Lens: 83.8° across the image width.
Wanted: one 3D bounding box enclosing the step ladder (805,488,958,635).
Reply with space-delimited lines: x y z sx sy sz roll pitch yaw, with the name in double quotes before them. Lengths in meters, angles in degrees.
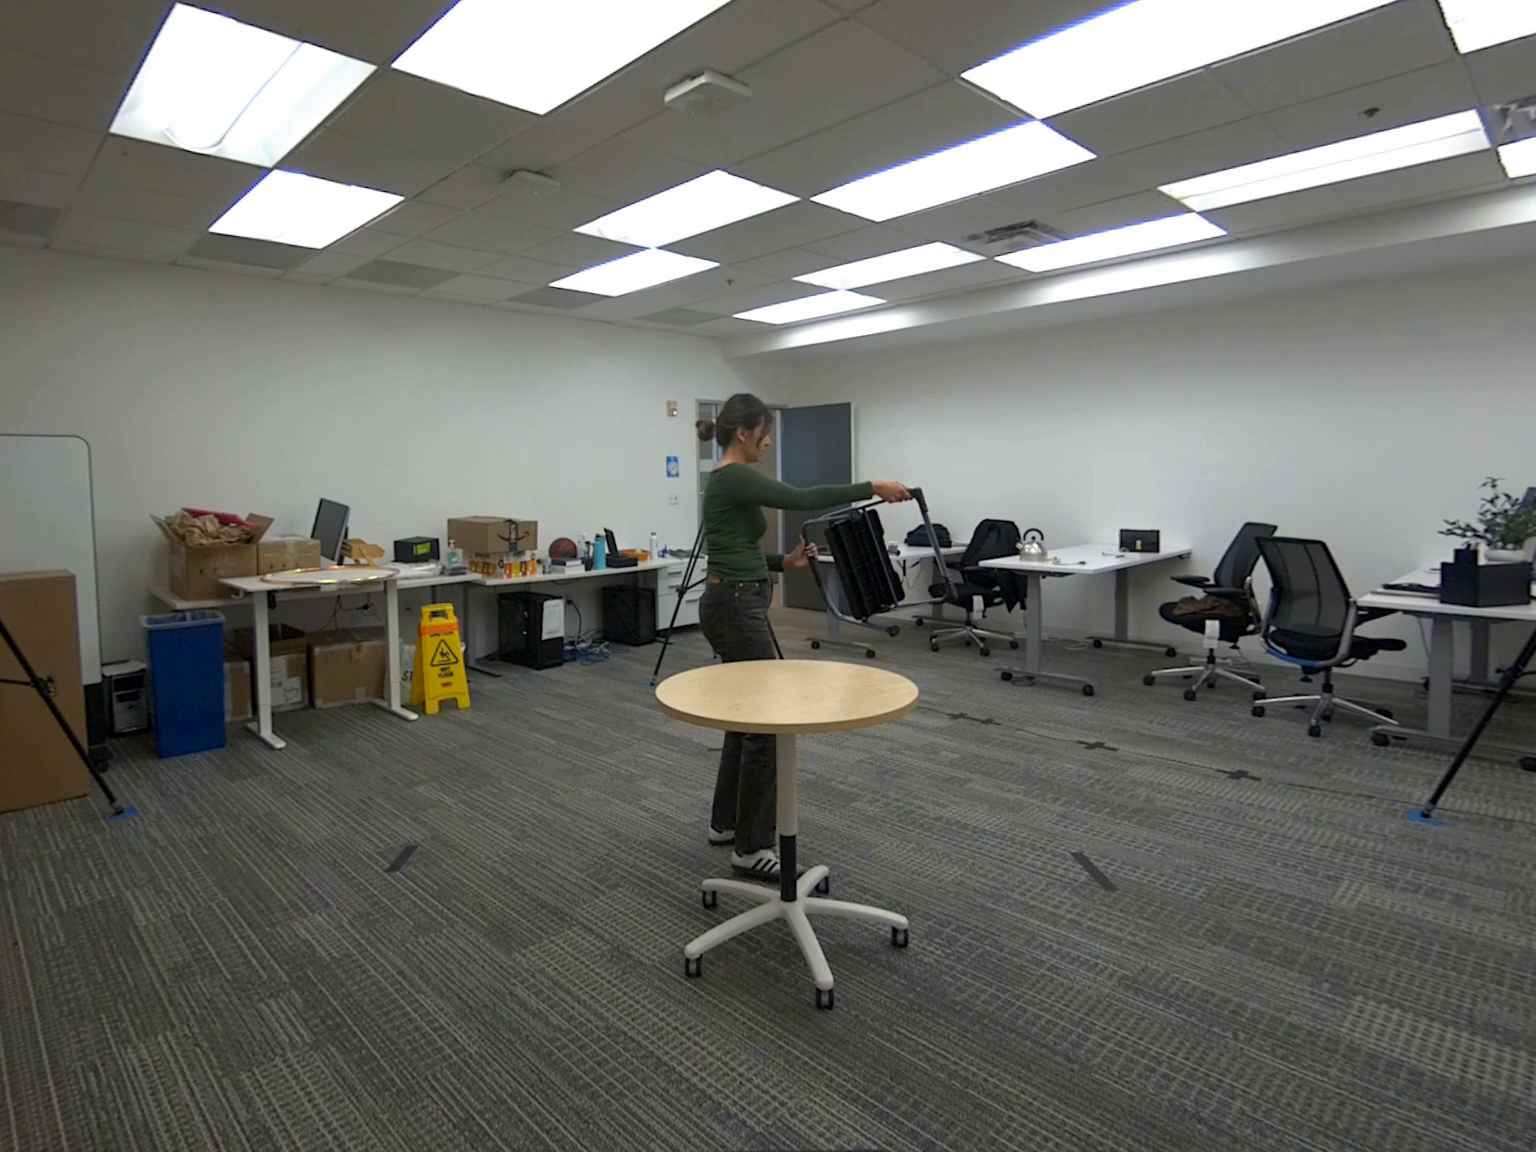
"step ladder" 0.295 -0.027 3.095 0.343 0.429 0.619 -20 6 -34
